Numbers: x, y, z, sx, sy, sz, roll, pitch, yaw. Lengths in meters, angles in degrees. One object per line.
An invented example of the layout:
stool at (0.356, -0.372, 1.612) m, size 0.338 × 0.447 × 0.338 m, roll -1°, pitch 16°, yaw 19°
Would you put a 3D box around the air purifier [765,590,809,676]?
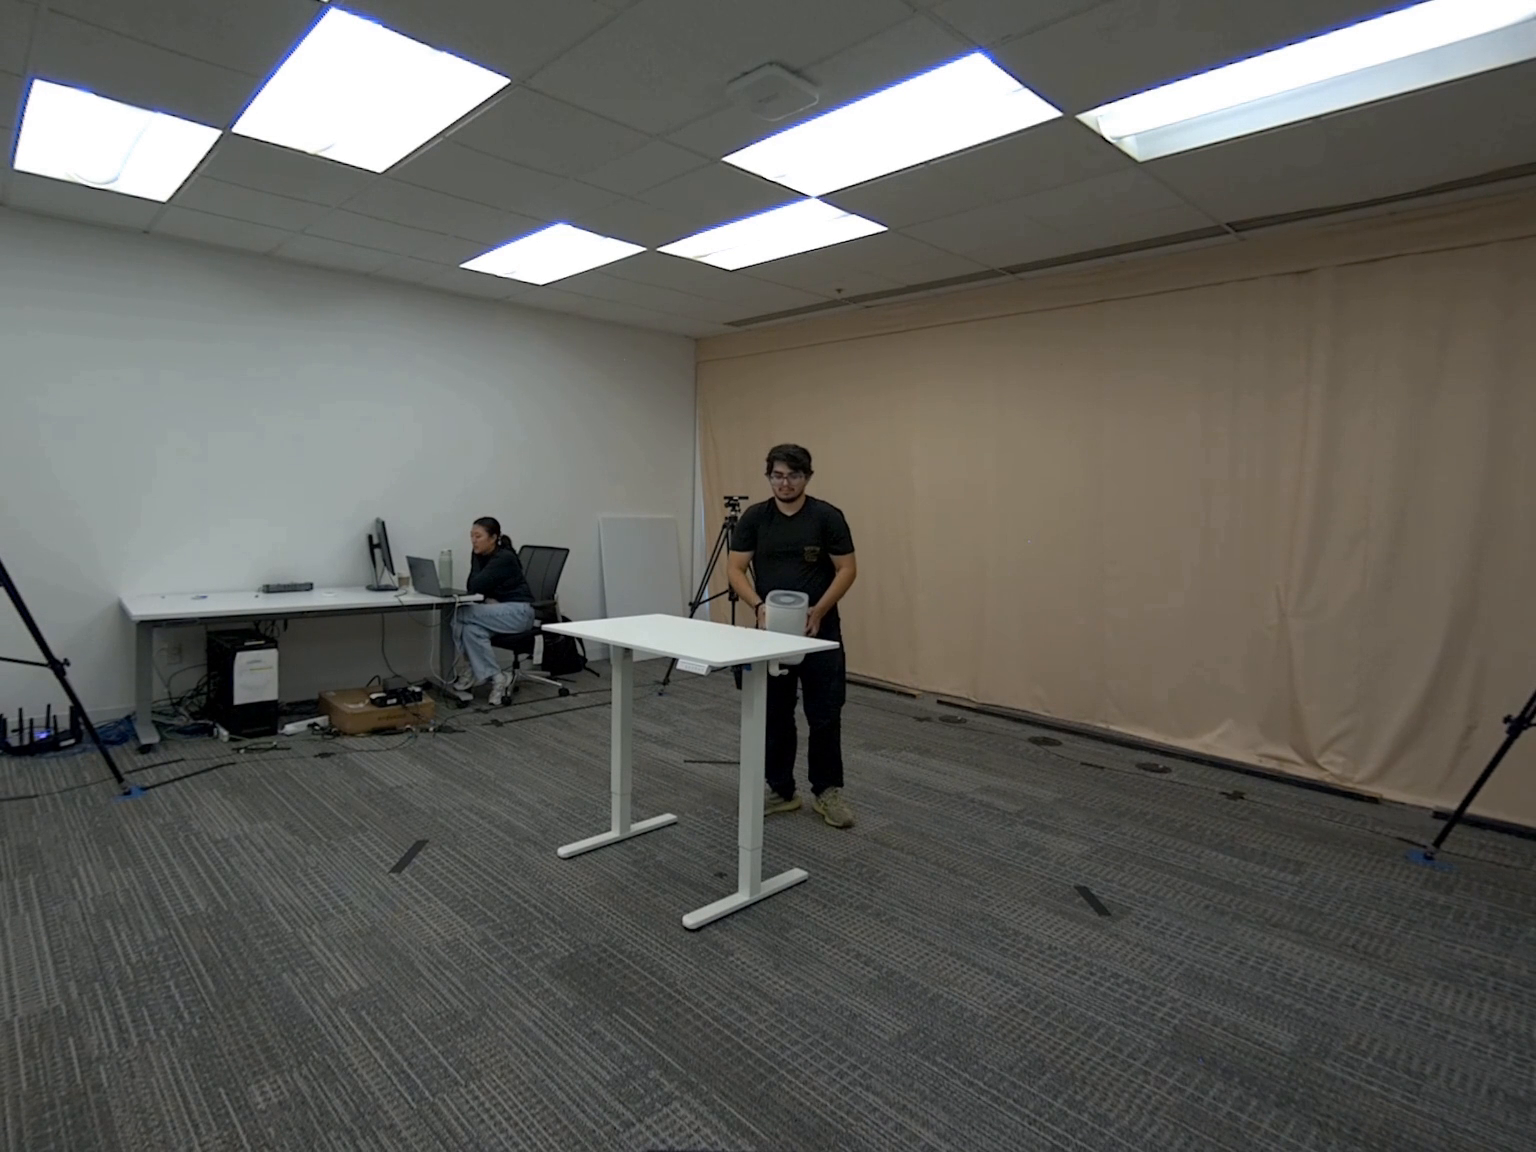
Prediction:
air purifier at (0.062, 0.217, 3.485) m, size 0.172 × 0.262 × 0.173 m, roll 3°, pitch 20°, yaw 4°
